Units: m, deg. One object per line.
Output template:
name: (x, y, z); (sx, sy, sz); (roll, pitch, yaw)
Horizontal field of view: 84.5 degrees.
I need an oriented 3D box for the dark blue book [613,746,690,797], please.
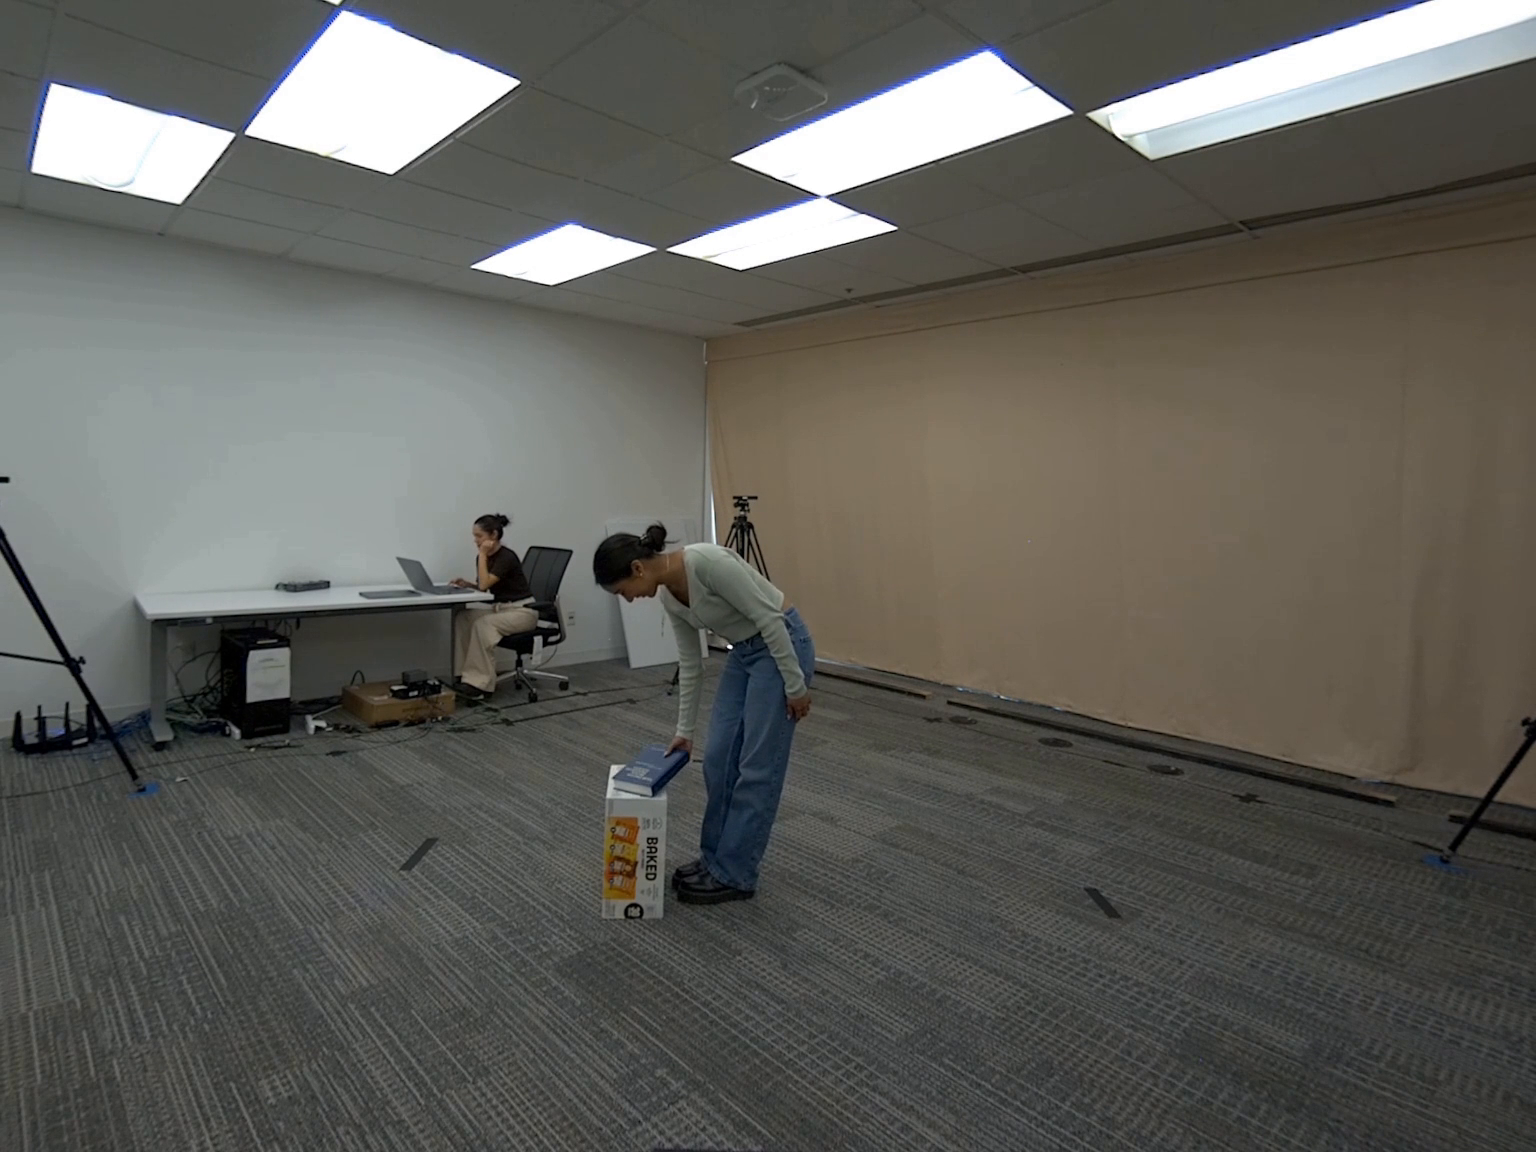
dark blue book: (-0.402, 0.672, 2.867); (0.167, 0.044, 0.243); (2, 19, 27)
